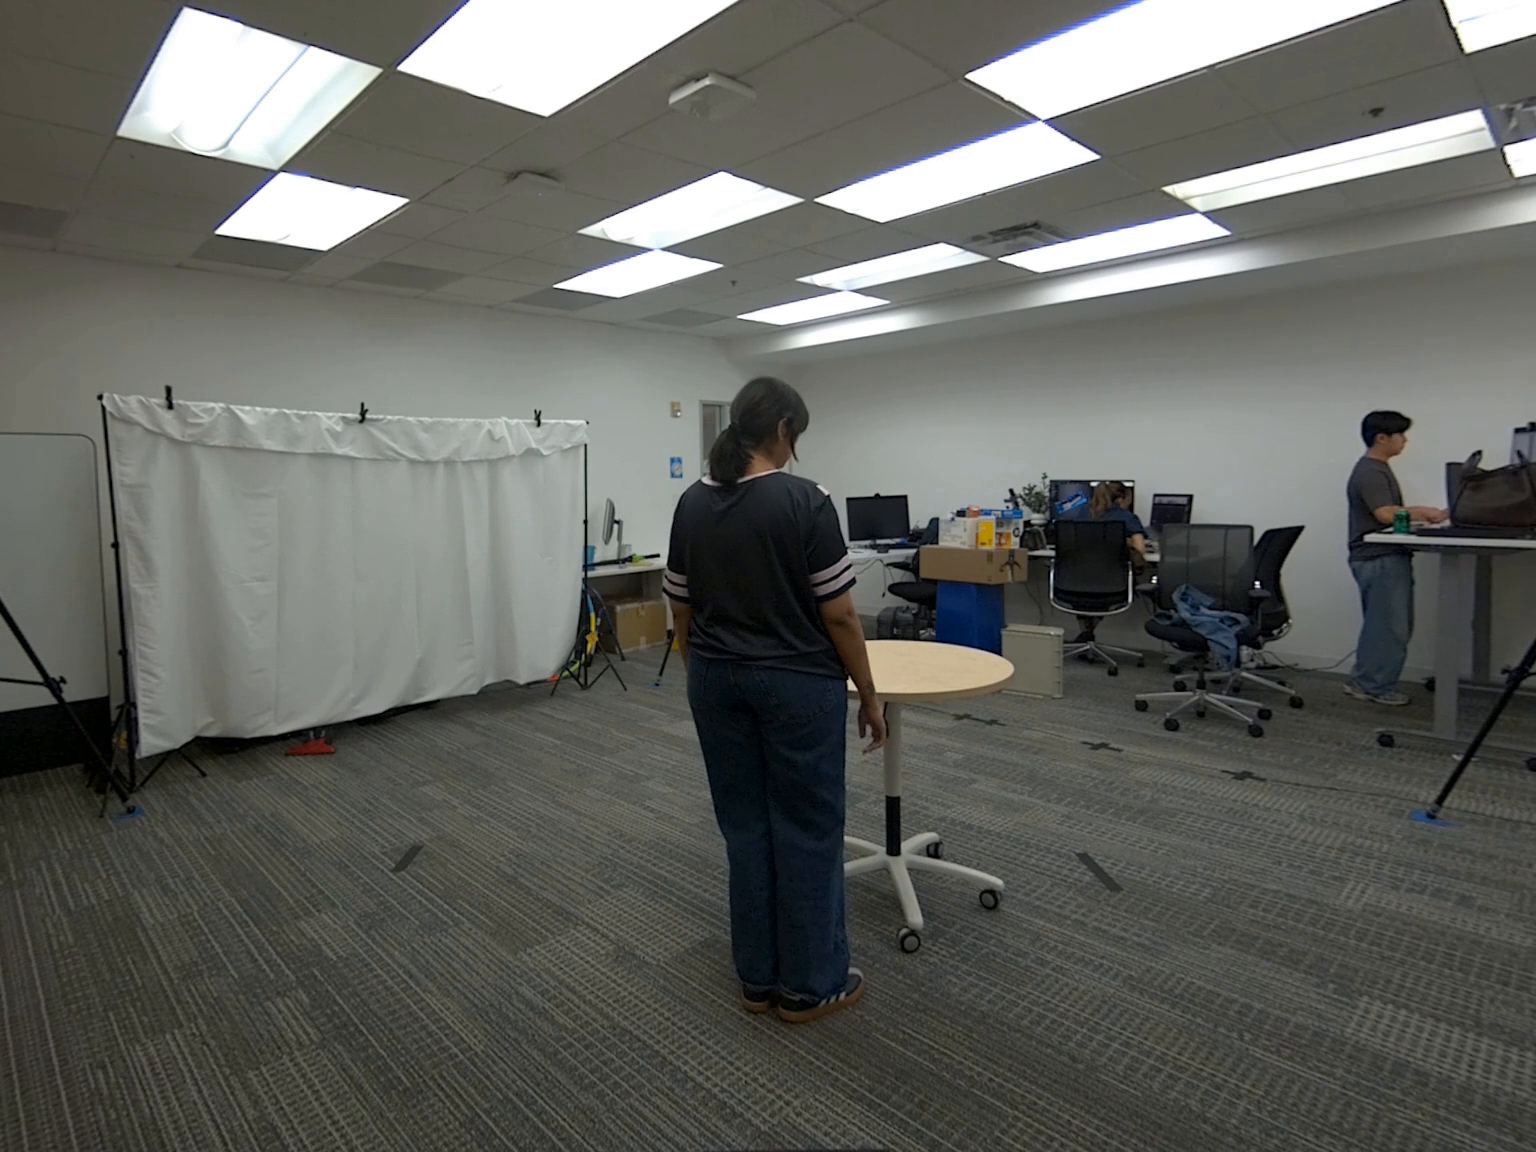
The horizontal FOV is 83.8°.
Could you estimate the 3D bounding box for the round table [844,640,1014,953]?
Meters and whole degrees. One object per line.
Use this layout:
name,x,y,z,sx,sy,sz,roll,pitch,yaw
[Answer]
round table,0.423,0.682,2.842,0.763,0.791,0.768,-1,5,-2
